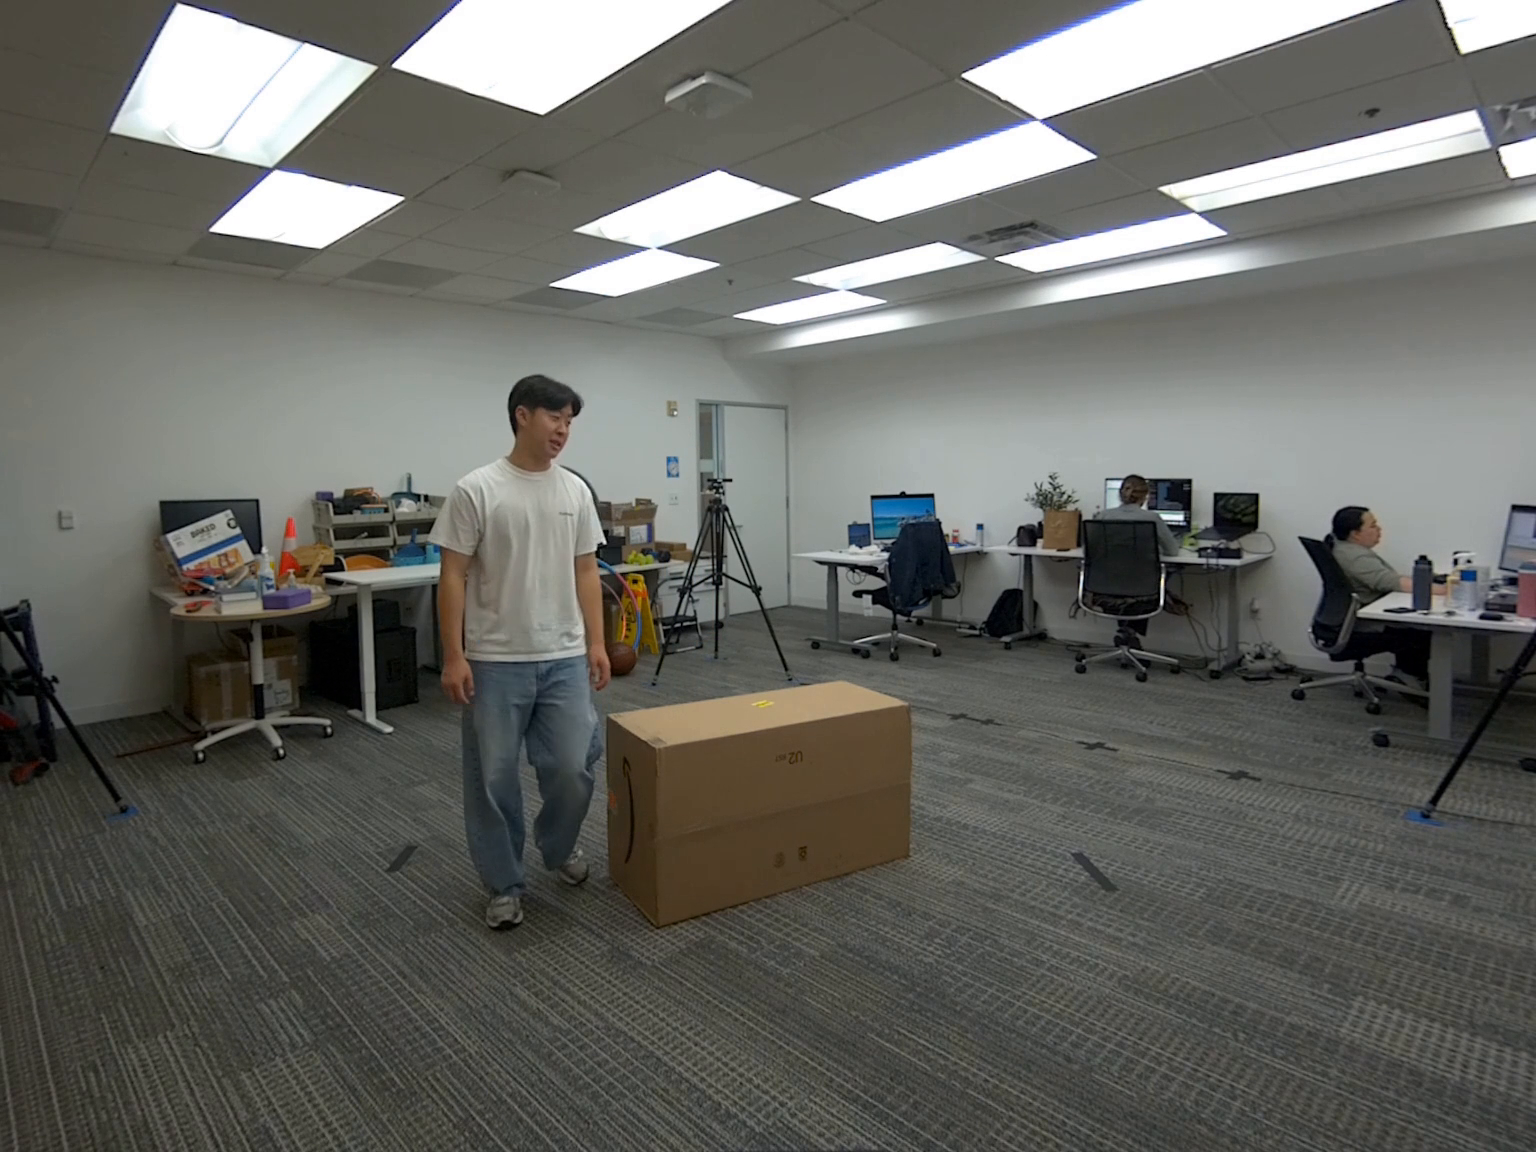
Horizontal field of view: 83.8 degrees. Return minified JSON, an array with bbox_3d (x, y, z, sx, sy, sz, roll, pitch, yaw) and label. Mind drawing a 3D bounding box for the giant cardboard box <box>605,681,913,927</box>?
[{"bbox_3d":[-0.021,0.761,3.071,1.002,0.575,0.438,-4,6,-29],"label":"giant cardboard box"}]
